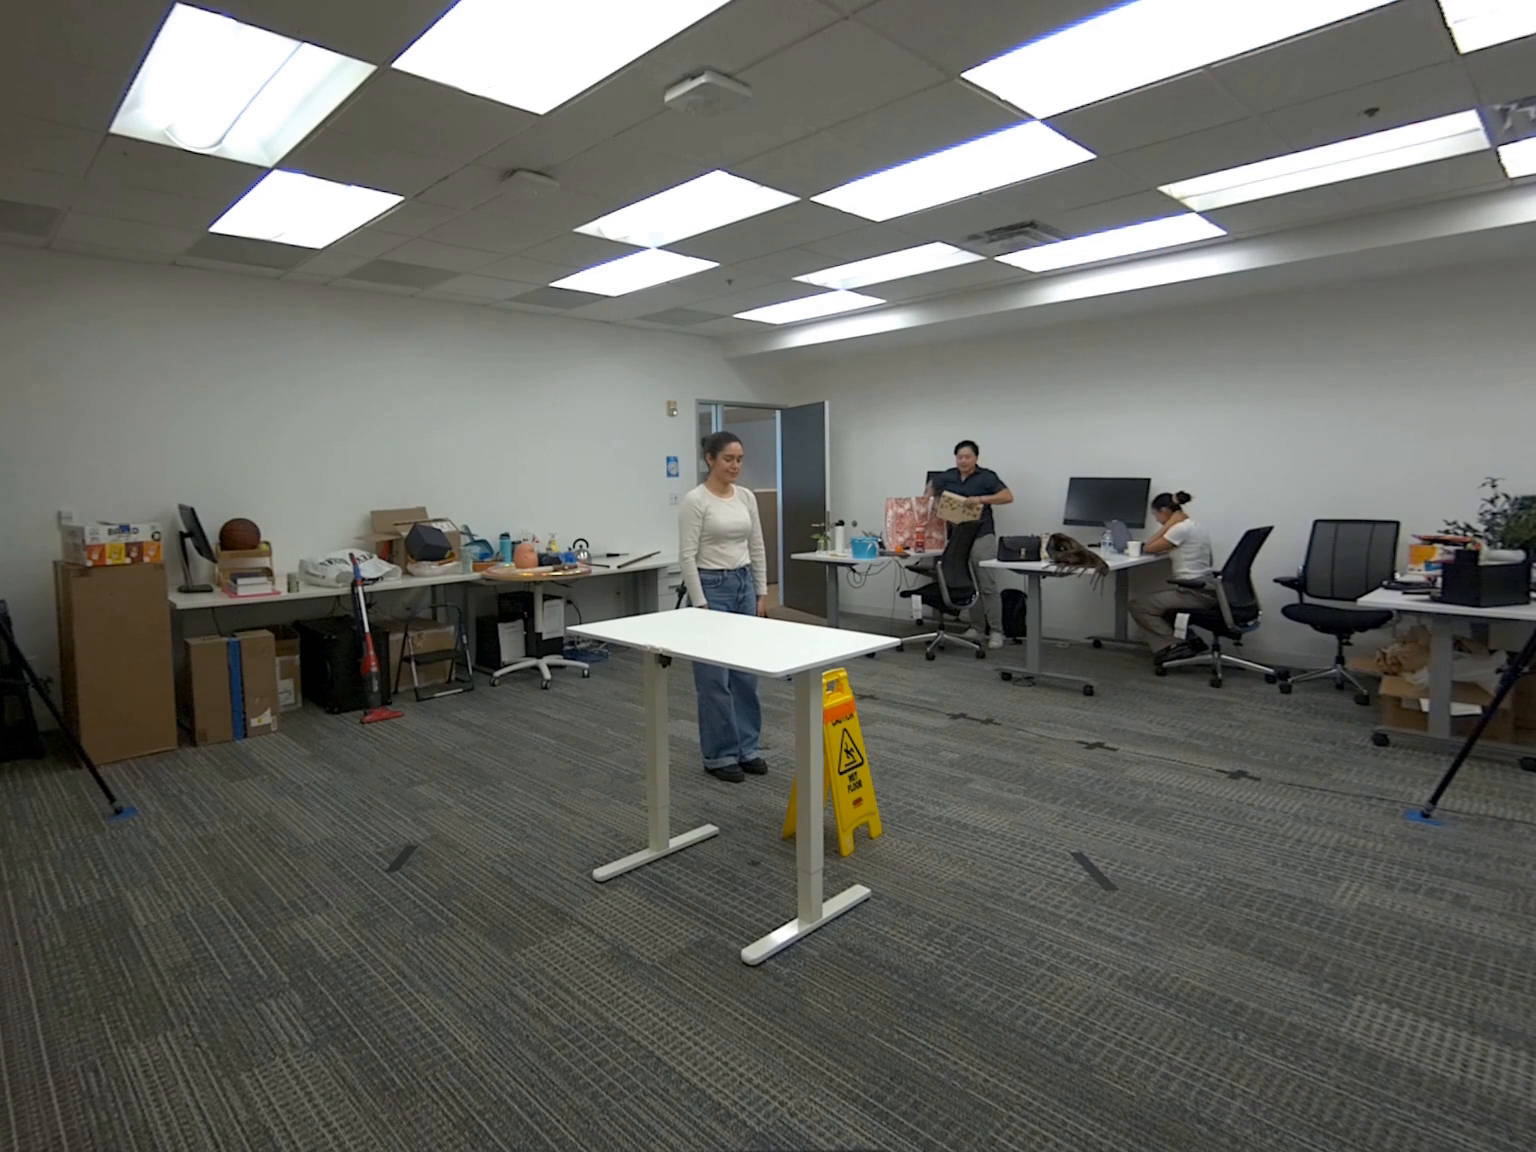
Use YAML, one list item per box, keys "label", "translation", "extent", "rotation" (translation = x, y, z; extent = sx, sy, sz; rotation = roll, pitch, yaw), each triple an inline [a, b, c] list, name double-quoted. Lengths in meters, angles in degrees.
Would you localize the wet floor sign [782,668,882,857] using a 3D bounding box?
- label: "wet floor sign"
  translation: [0.246, 0.693, 3.321]
  extent: [0.298, 0.644, 0.275]
  rotation: [2, 4, 39]
